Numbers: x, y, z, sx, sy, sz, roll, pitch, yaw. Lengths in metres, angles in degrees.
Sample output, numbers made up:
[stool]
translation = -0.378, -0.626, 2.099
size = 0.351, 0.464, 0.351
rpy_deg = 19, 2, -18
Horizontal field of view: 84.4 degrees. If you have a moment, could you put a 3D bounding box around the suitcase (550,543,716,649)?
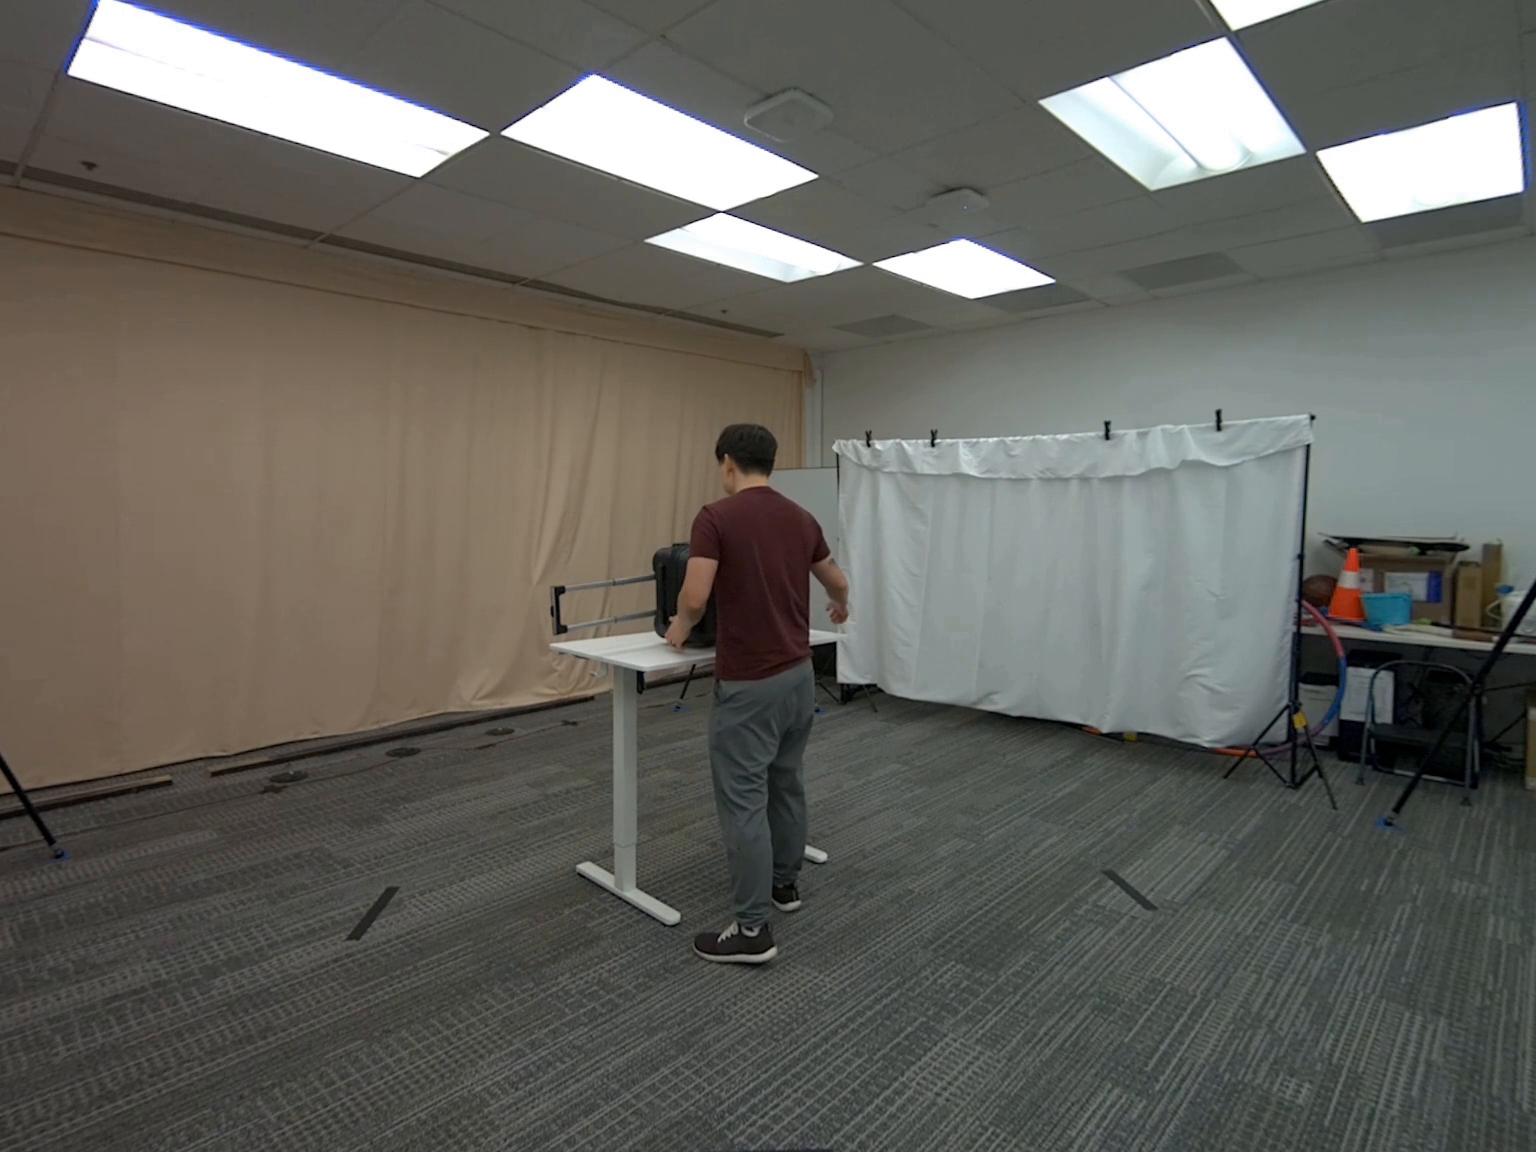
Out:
[suitcase]
translation = -0.314, 0.072, 3.050
size = 0.265, 0.383, 0.949
rpy_deg = 2, 5, 41
